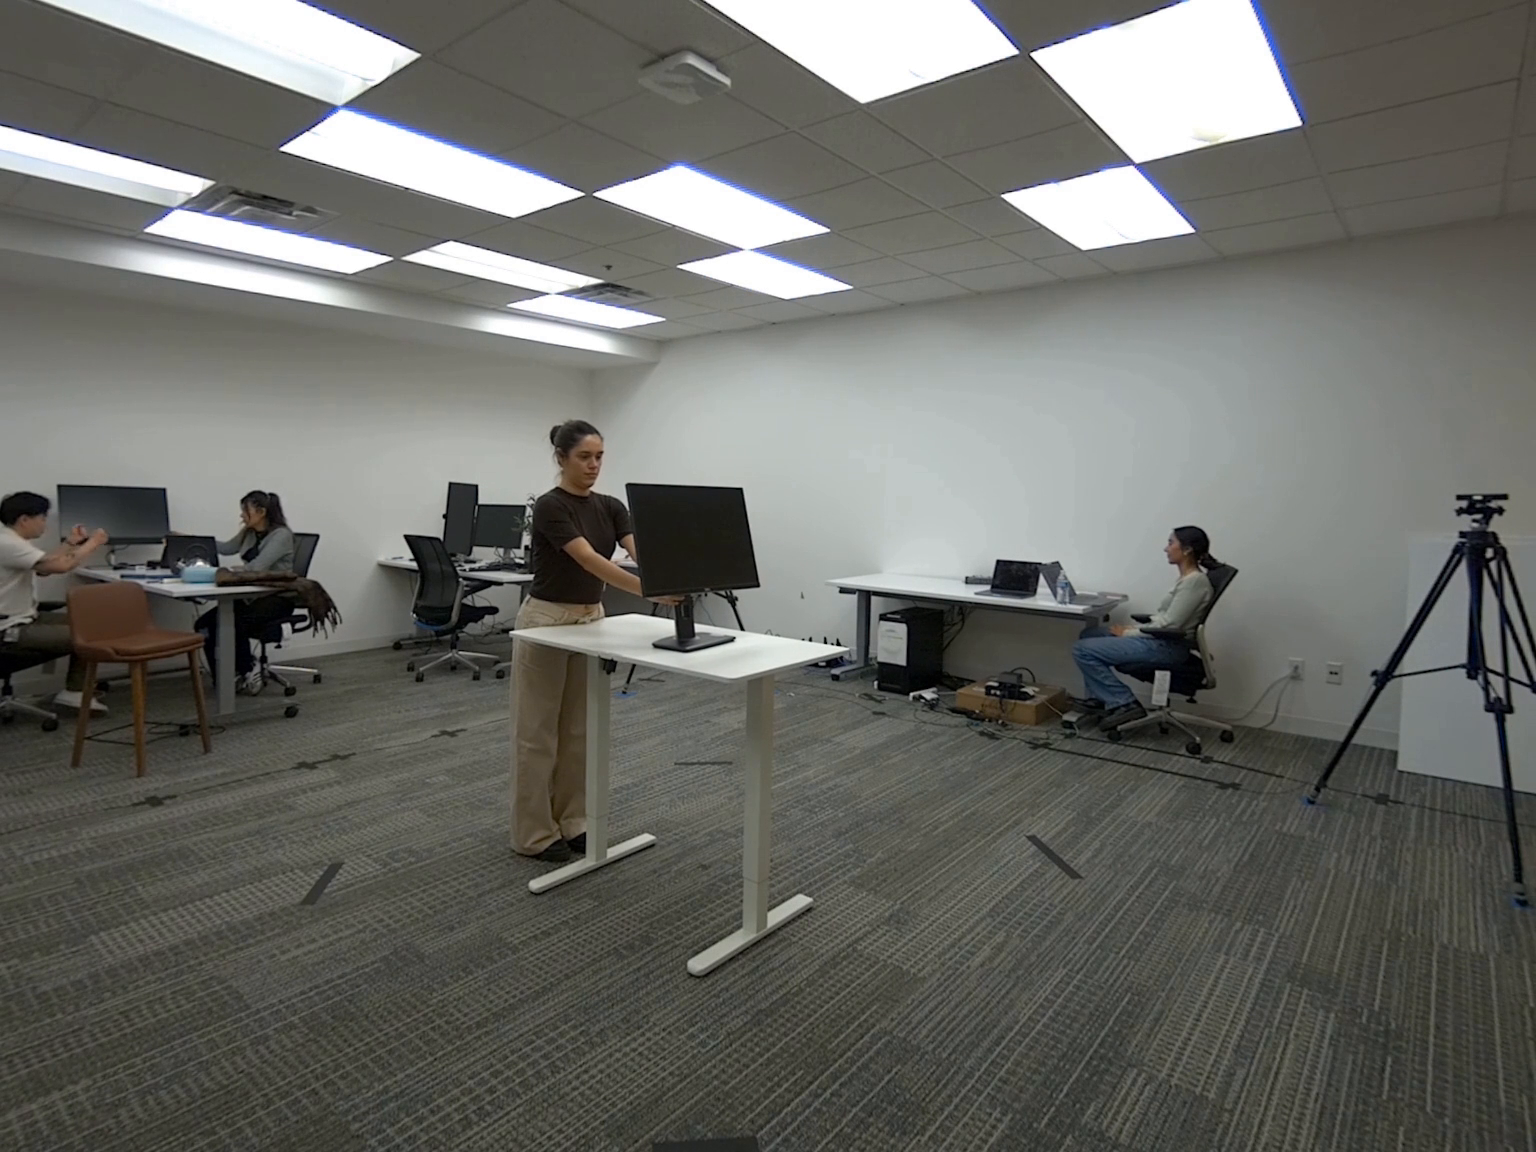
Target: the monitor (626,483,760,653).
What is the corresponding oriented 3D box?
[{"bbox_3d":[-0.262,-0.033,2.759,0.193,0.522,0.523,0,2,38],"label":"monitor"}]
